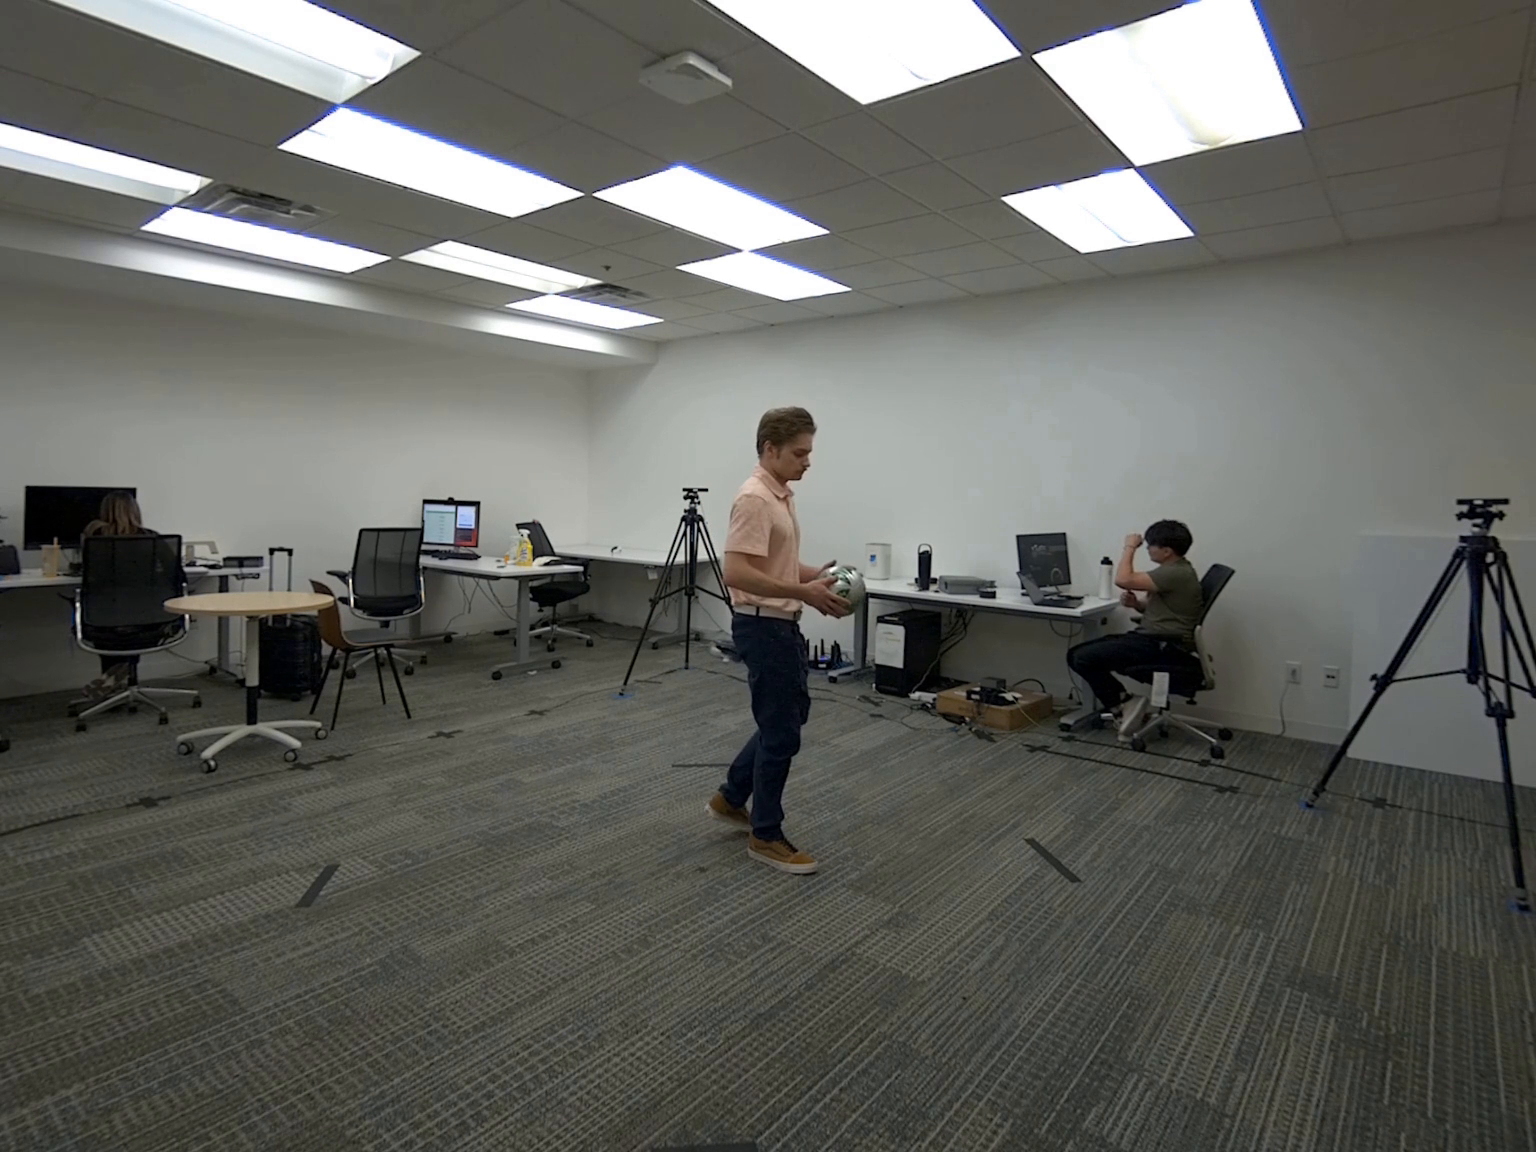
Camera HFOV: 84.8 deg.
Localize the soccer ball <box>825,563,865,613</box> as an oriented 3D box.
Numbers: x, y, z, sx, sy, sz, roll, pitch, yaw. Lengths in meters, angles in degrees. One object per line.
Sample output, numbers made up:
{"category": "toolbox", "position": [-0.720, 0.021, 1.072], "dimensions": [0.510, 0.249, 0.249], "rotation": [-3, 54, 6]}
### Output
{"category": "soccer ball", "position": [0.245, 0.052, 3.077], "dimensions": [0.187, 0.187, 0.188], "rotation": [1, 4, -2]}
